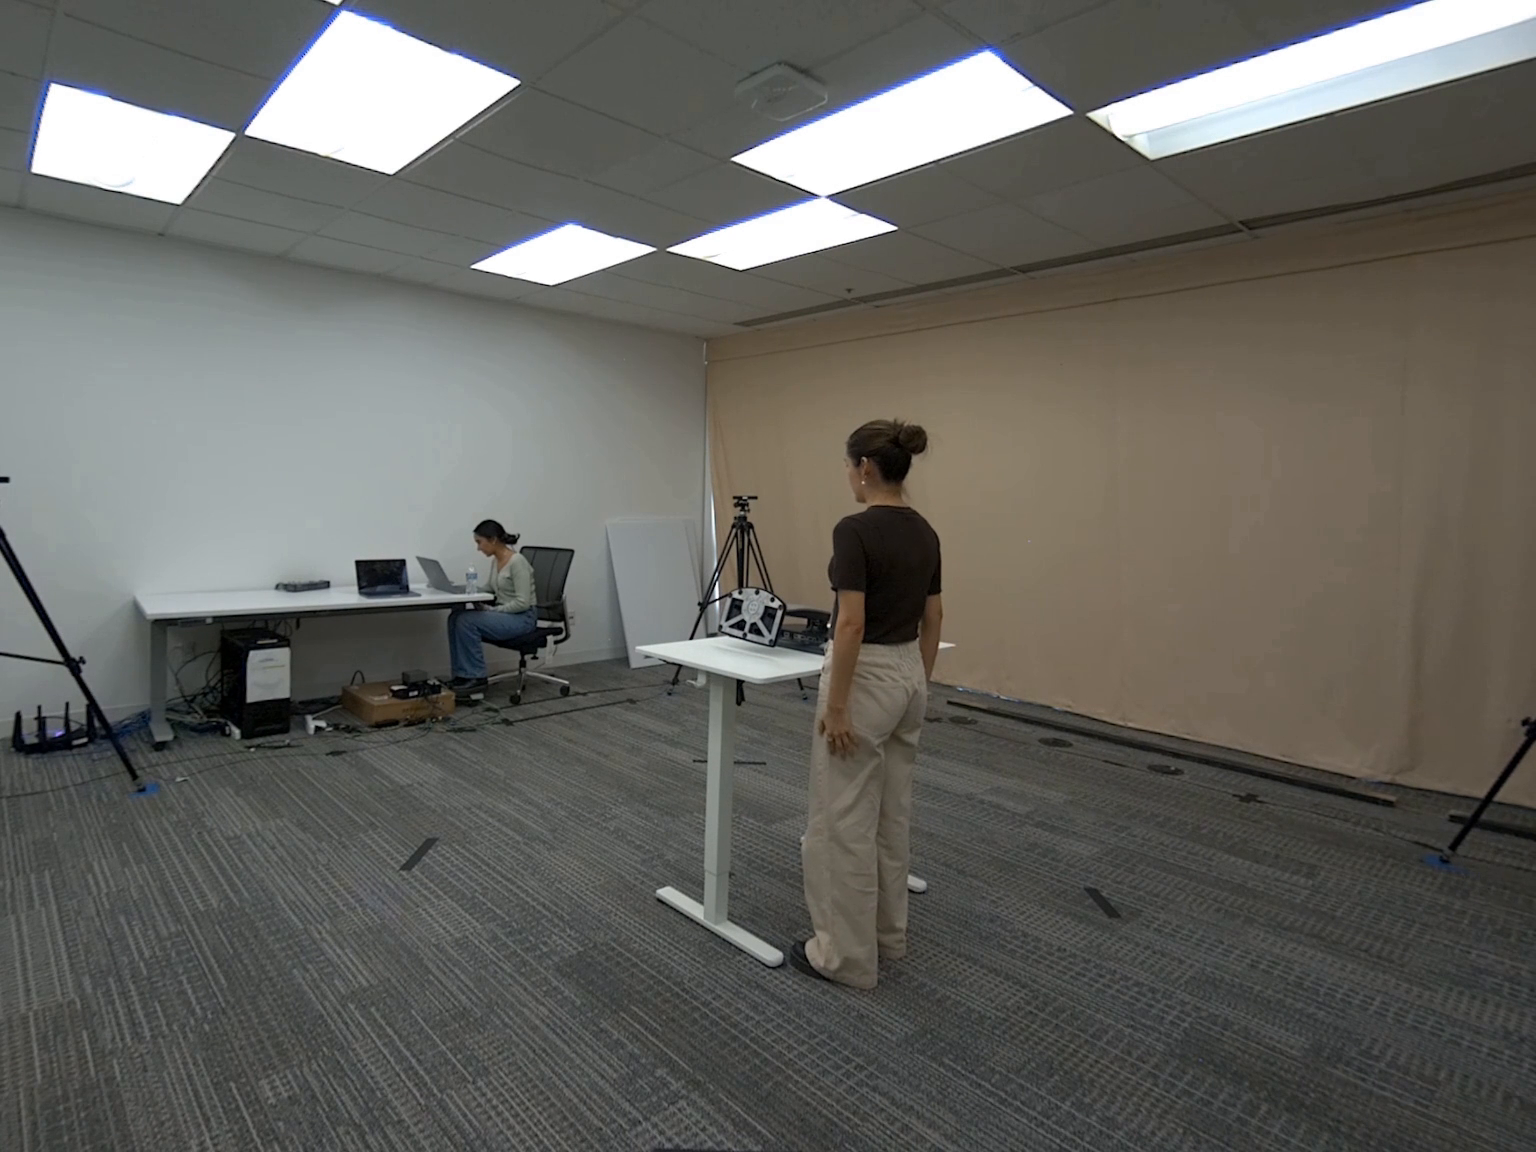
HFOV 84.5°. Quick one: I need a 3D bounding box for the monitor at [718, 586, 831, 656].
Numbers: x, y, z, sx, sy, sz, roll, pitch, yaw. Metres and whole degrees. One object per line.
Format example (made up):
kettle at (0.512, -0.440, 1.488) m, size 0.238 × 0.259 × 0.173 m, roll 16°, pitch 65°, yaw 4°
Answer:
monitor at (0.104, 0.184, 2.946) m, size 0.507 × 0.187 × 0.554 m, roll 18°, pitch -5°, yaw -43°
